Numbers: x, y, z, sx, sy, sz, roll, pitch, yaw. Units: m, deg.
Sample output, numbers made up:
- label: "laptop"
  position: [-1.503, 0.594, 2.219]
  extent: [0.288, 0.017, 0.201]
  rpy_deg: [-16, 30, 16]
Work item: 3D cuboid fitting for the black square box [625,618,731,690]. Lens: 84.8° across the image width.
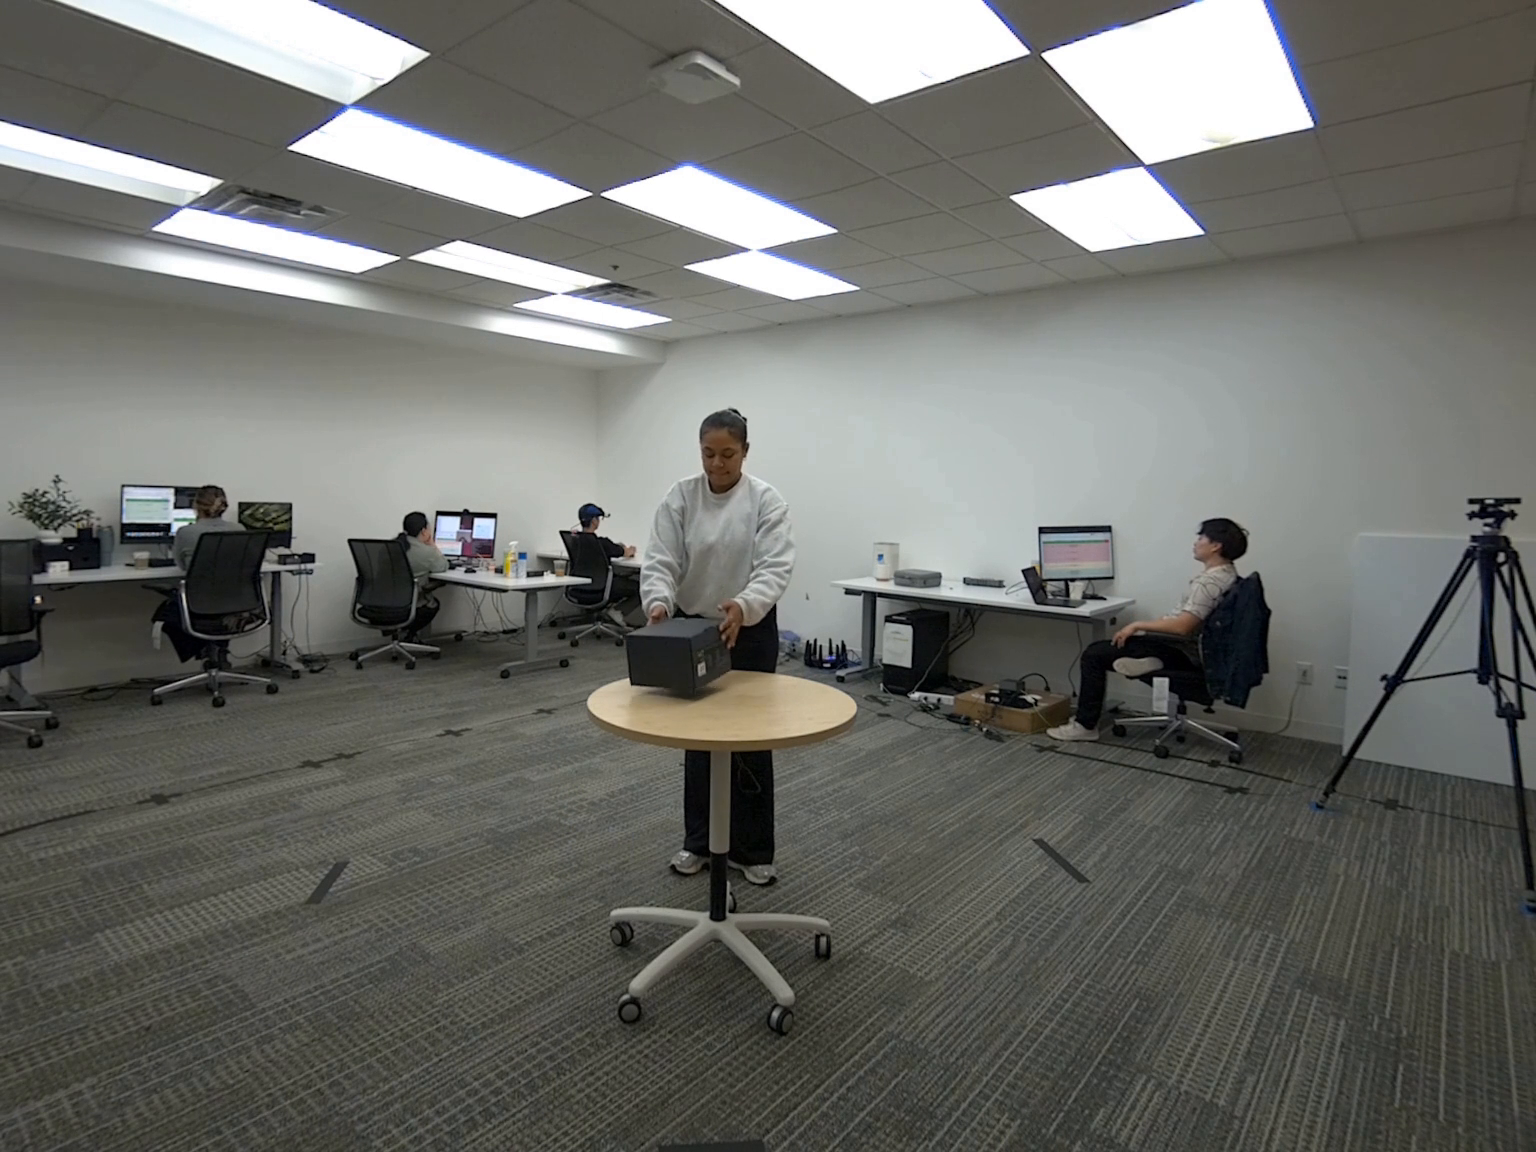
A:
- label: "black square box"
  position: [-0.290, 0.207, 2.530]
  extent: [0.234, 0.155, 0.212]
  rpy_deg: [-2, 7, 29]
